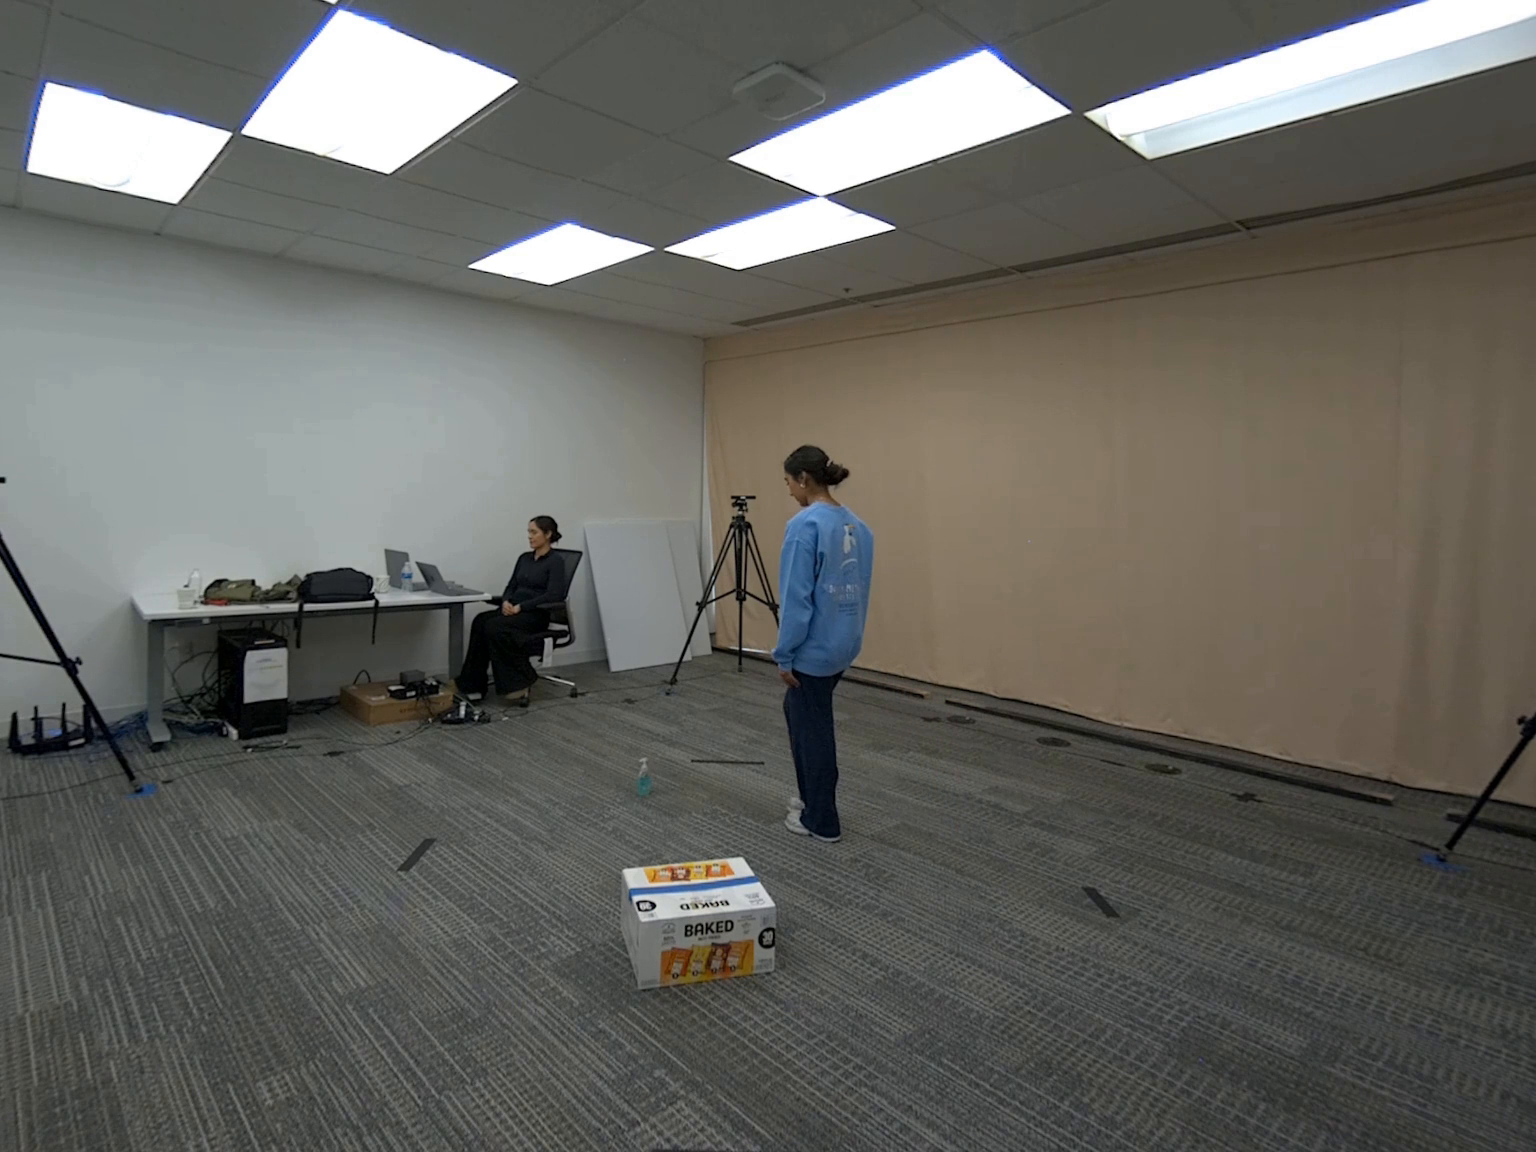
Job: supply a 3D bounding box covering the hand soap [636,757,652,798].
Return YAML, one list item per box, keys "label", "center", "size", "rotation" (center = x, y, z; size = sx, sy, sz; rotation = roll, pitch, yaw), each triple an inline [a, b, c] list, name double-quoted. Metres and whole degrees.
- label: "hand soap"
  center: [-0.580, 0.932, 3.930]
  size: [0.082, 0.168, 0.044]
  rotation: [-1, 4, -44]
